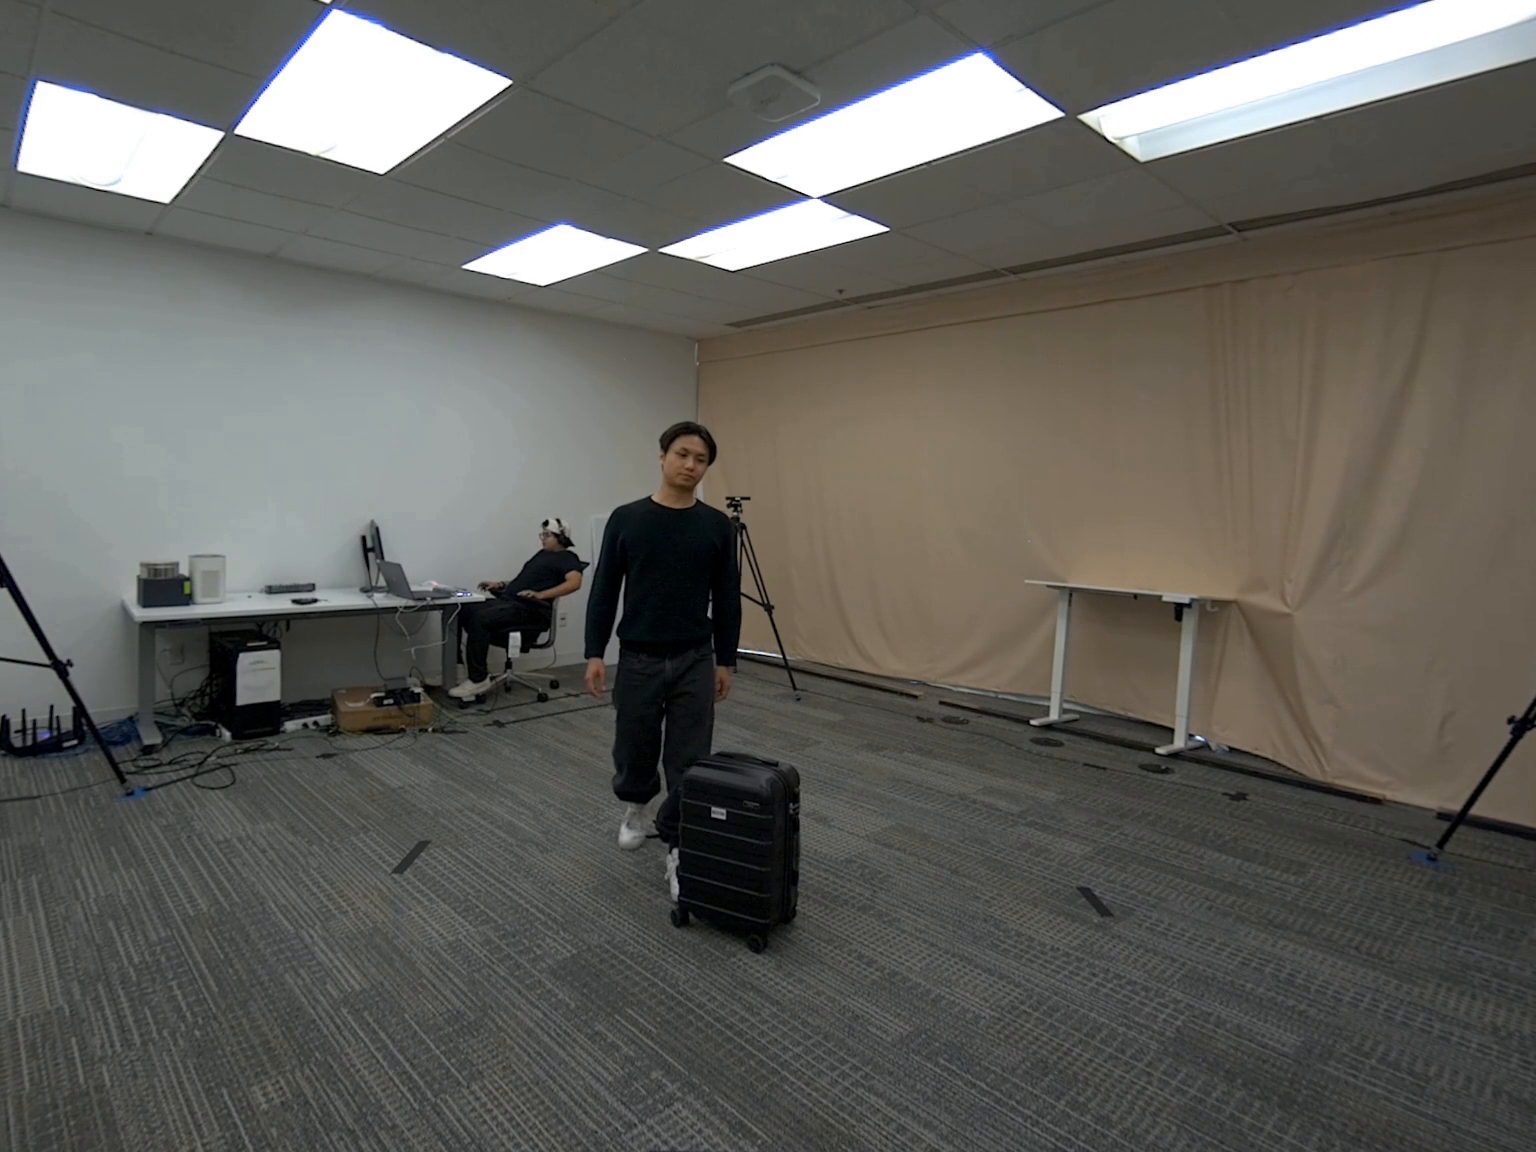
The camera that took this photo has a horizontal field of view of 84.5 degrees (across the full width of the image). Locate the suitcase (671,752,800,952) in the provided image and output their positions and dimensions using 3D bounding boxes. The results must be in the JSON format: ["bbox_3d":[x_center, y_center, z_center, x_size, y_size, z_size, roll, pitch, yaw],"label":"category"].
[{"bbox_3d":[-0.093,0.868,2.723,0.383,0.547,0.244,4,5,27],"label":"suitcase"}]
